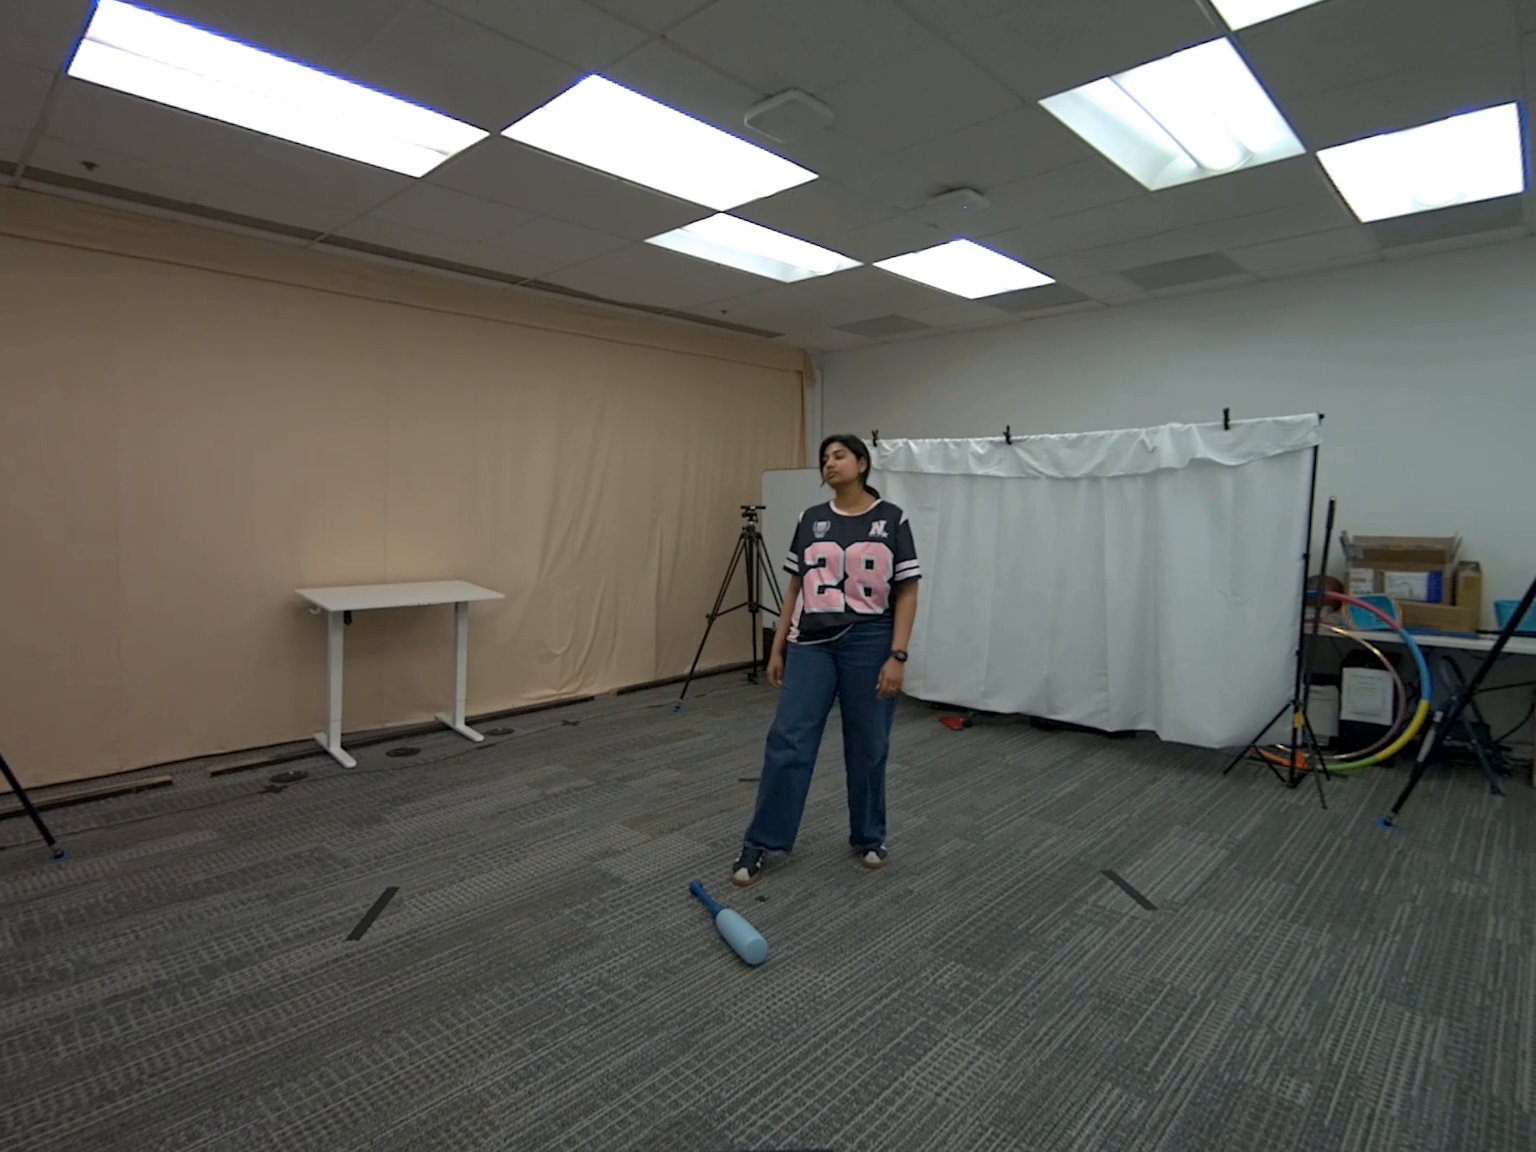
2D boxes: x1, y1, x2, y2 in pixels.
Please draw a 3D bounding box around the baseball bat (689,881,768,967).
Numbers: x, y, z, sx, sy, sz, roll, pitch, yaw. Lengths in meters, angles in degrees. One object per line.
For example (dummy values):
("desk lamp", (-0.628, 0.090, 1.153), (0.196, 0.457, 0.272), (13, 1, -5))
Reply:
("baseball bat", (-0.143, 1.129, 2.774), (0.087, 0.089, 0.555), (-2, 2, -24))
